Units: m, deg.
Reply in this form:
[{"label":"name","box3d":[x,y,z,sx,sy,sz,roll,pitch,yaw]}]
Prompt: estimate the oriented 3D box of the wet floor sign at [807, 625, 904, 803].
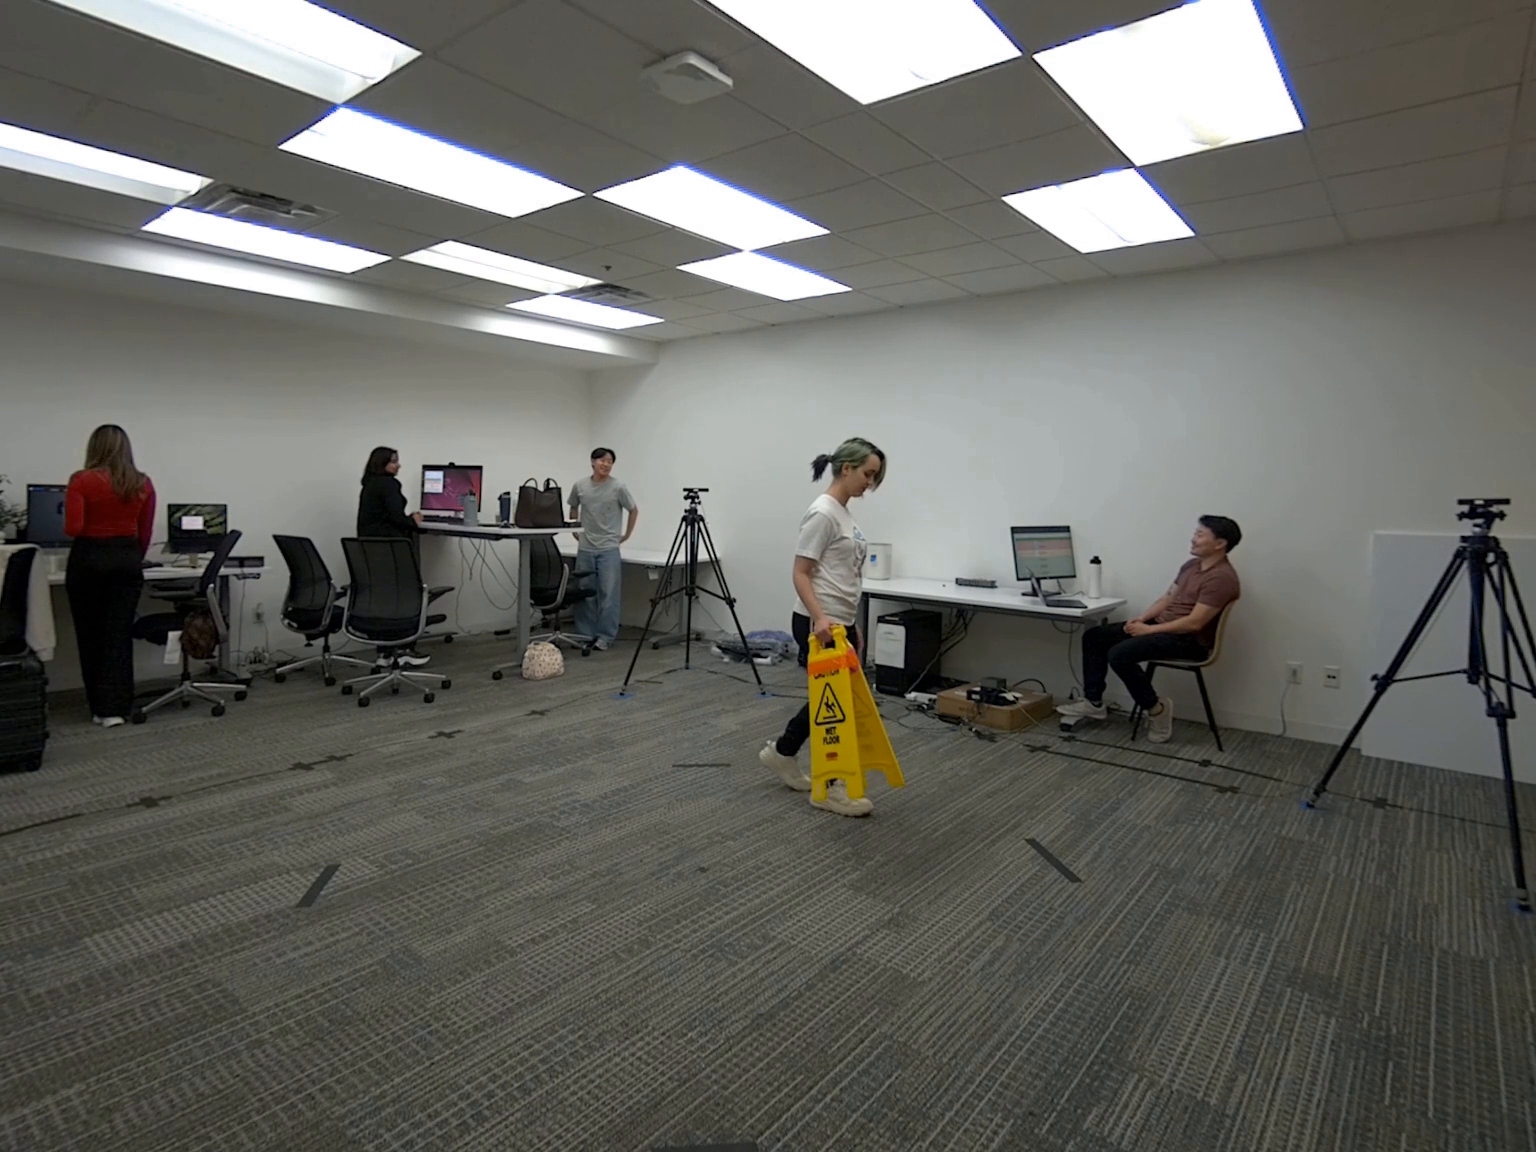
[{"label":"wet floor sign","box3d":[0.291,0.529,3.385,0.281,0.655,0.287,-2,-14,-38]}]
